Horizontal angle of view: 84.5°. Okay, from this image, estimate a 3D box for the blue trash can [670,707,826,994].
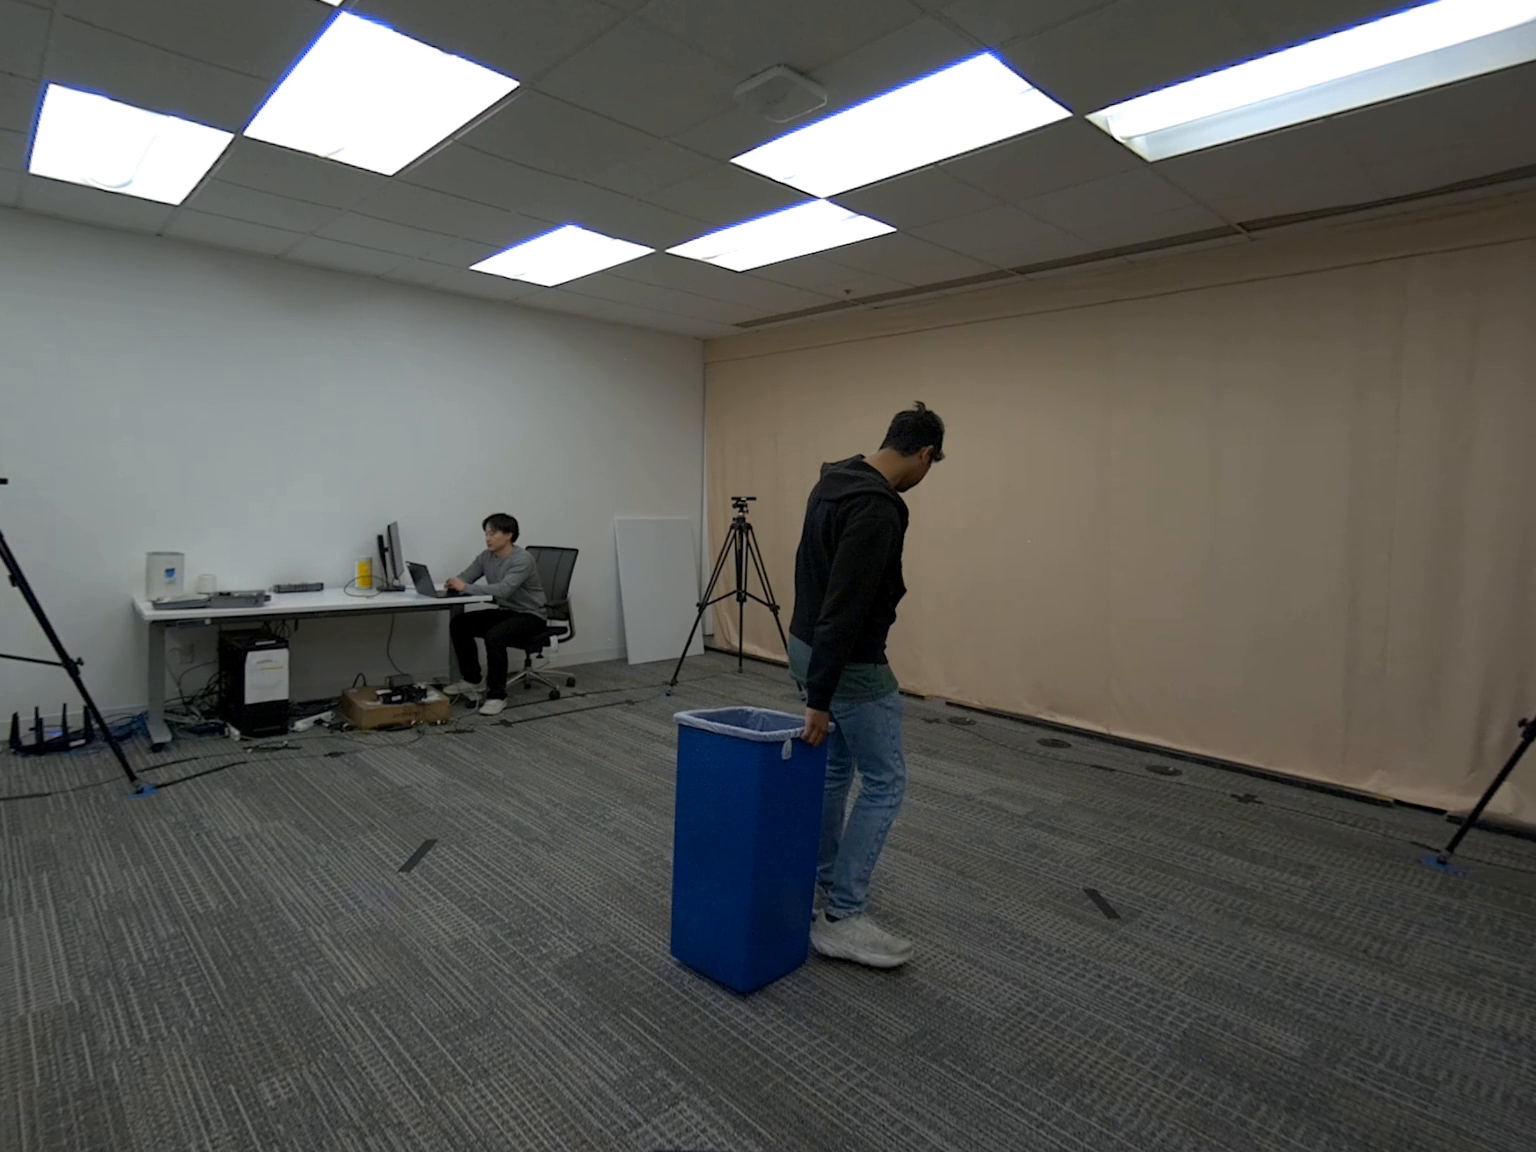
[{"bbox_3d":[-0.064,0.791,2.536,0.387,0.714,0.364,2,-2,39],"label":"blue trash can"}]
